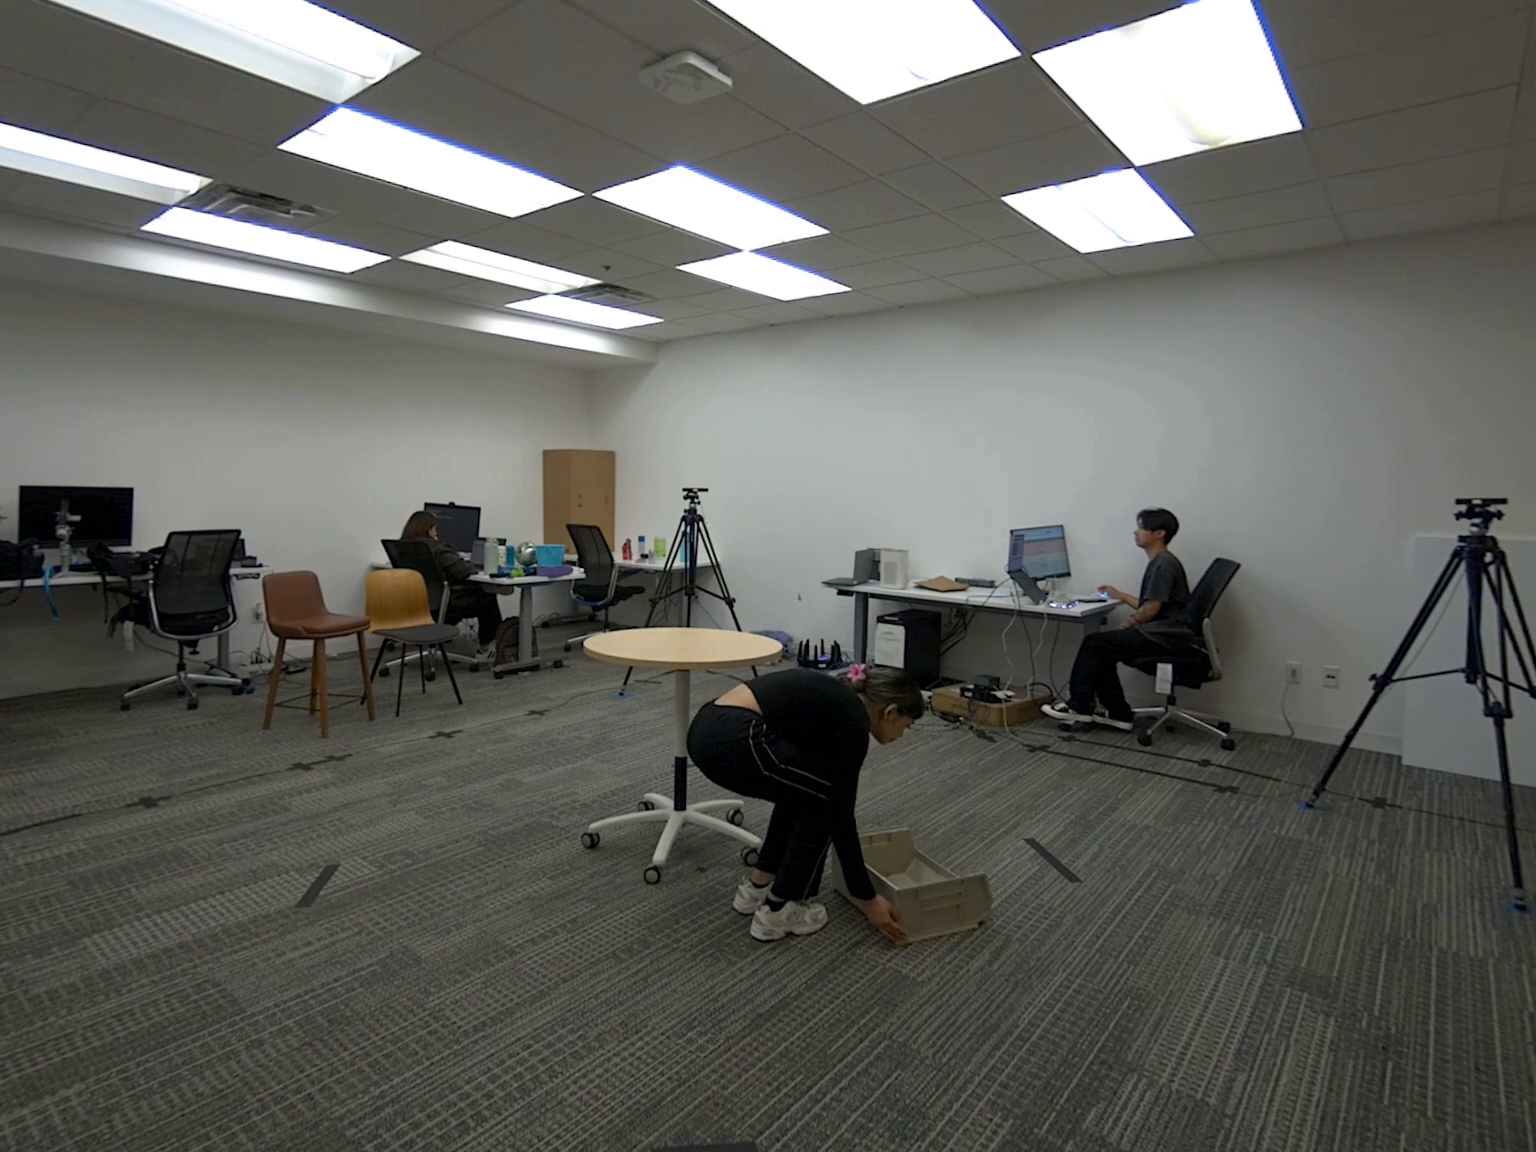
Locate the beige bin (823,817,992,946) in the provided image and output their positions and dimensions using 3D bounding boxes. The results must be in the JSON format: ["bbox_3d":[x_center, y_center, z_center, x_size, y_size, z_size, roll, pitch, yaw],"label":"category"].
[{"bbox_3d":[0.460,1.018,2.858,0.369,0.188,0.434,-1,6,-24],"label":"beige bin"}]
